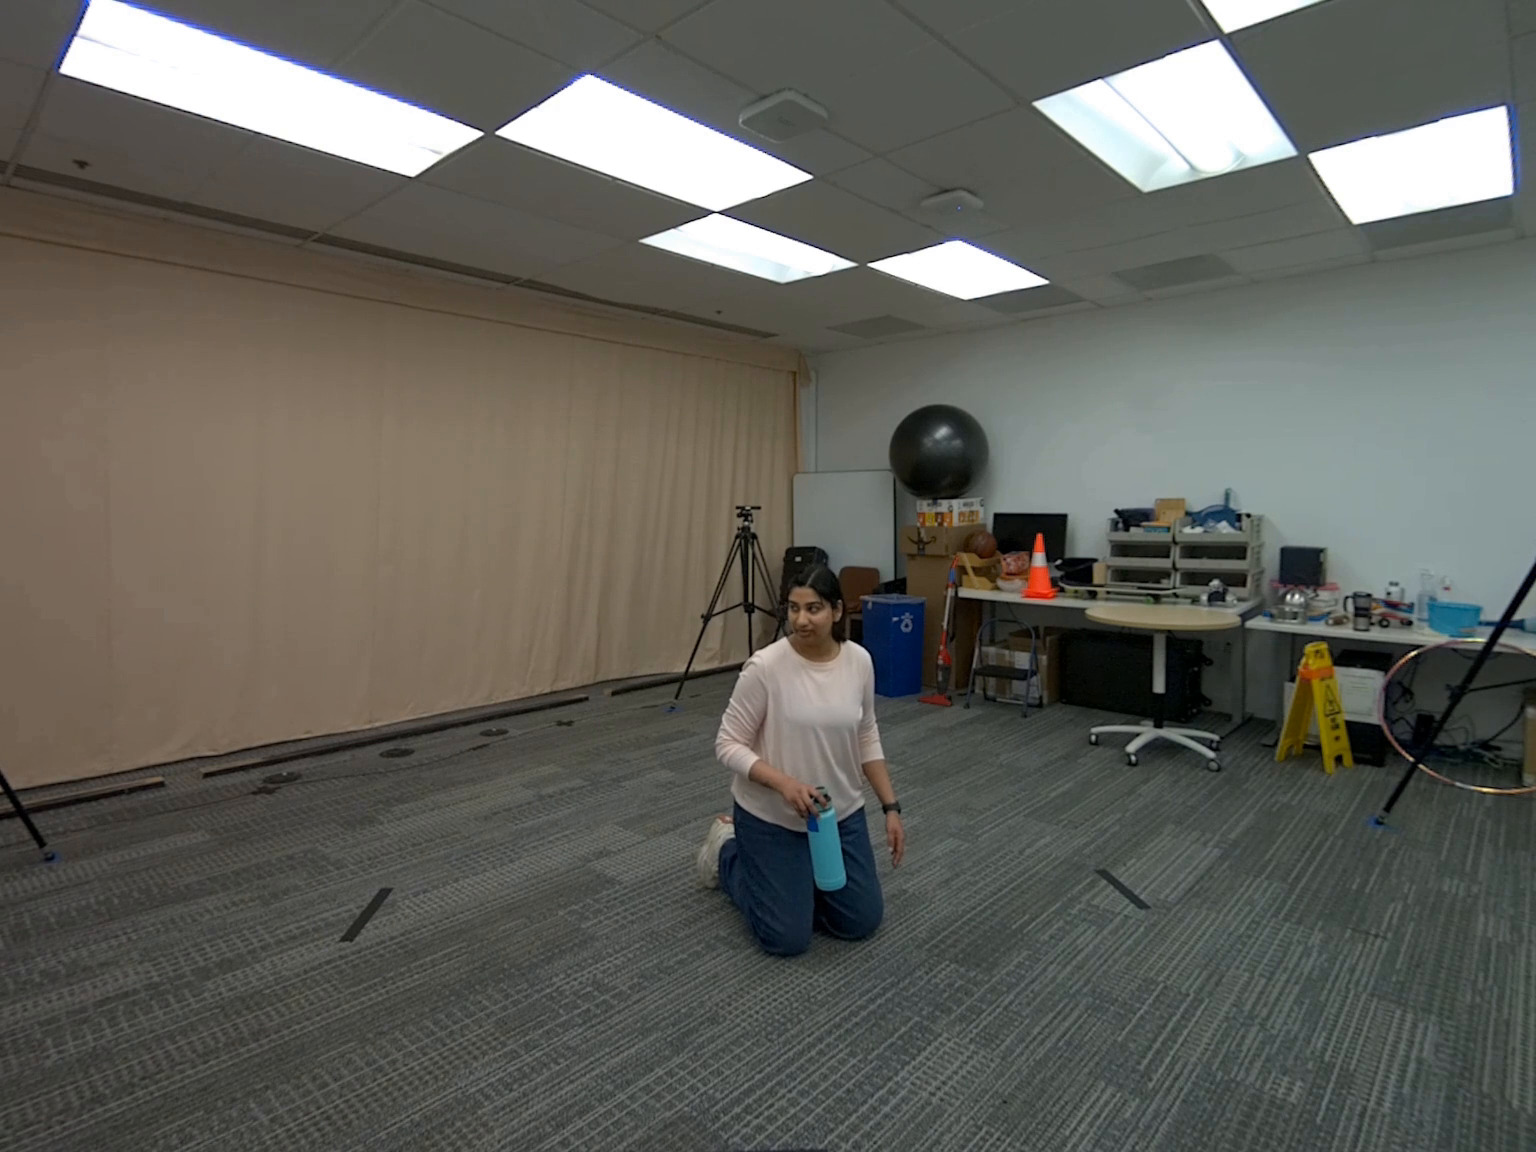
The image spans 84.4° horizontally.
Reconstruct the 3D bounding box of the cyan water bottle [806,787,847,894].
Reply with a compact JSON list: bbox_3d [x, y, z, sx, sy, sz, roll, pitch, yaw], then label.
[{"bbox_3d":[0.162,0.757,2.441,0.092,0.282,0.093,-8,6,-1],"label":"cyan water bottle"}]
